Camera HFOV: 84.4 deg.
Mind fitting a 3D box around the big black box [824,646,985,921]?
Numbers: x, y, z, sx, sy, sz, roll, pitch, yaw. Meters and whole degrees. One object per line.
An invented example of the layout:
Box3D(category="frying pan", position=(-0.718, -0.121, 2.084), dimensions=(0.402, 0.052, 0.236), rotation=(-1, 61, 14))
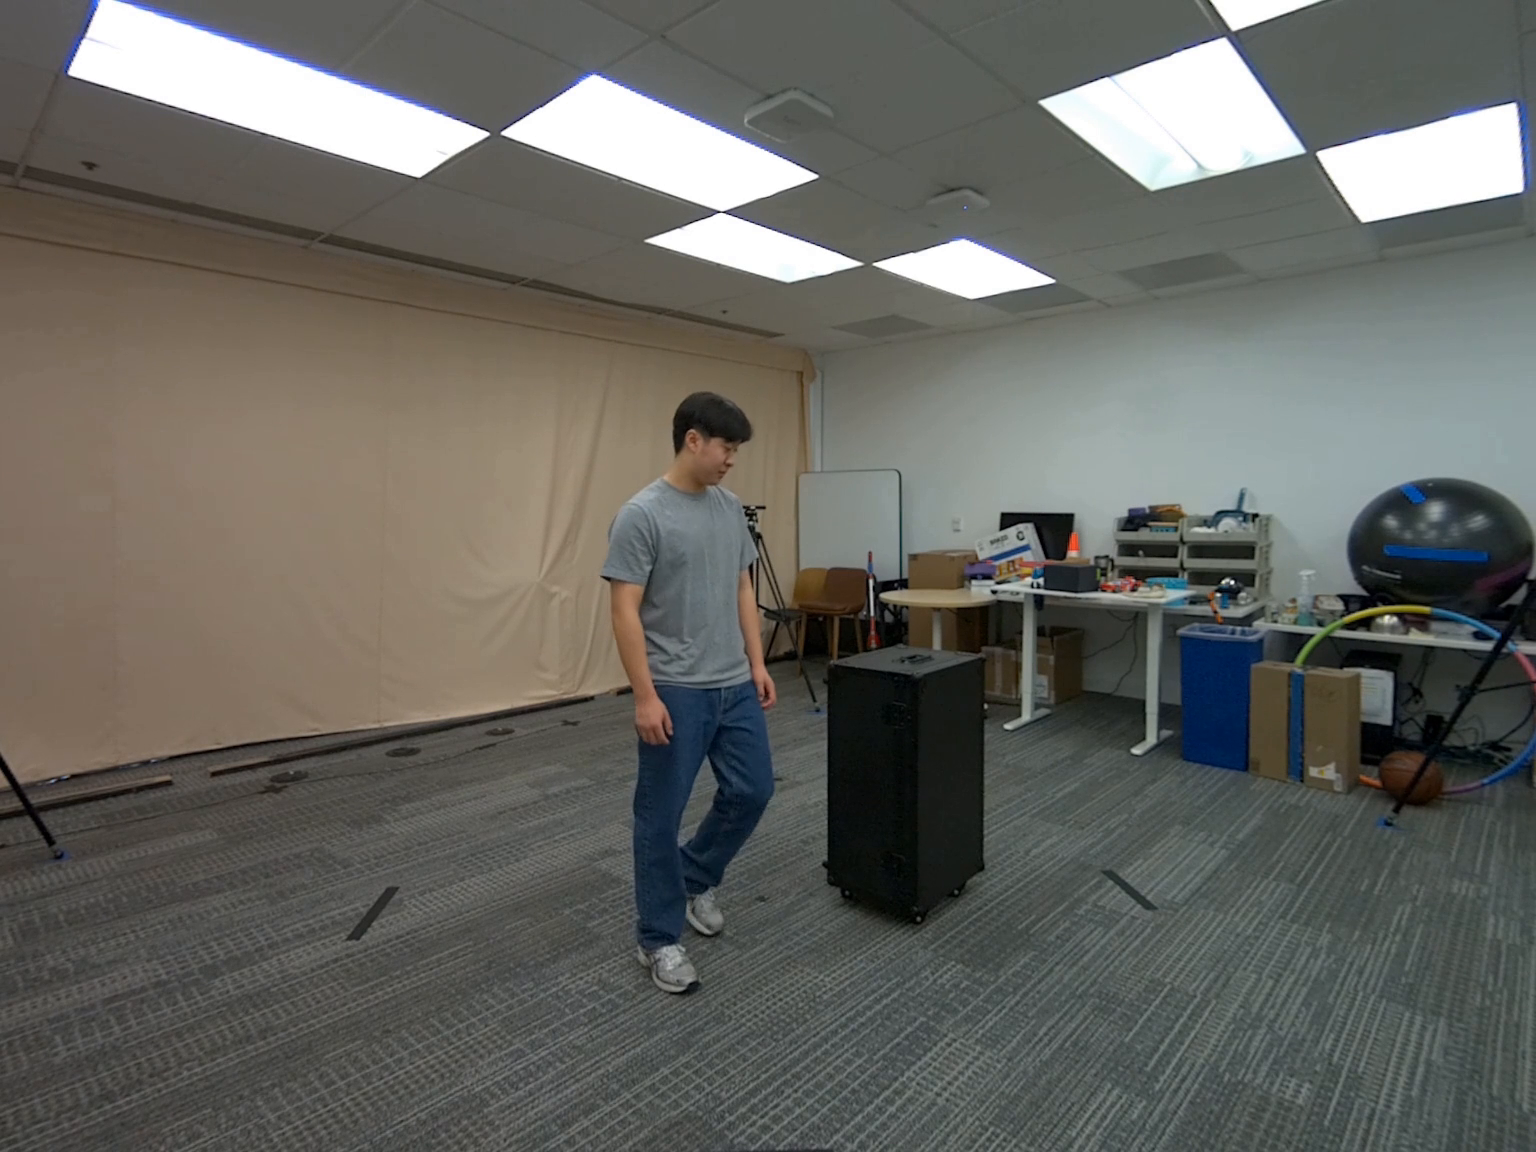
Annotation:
Box3D(category="big black box", position=(0.490, 0.718, 2.984), dimensions=(0.409, 0.860, 0.505), rotation=(1, 4, 41))
